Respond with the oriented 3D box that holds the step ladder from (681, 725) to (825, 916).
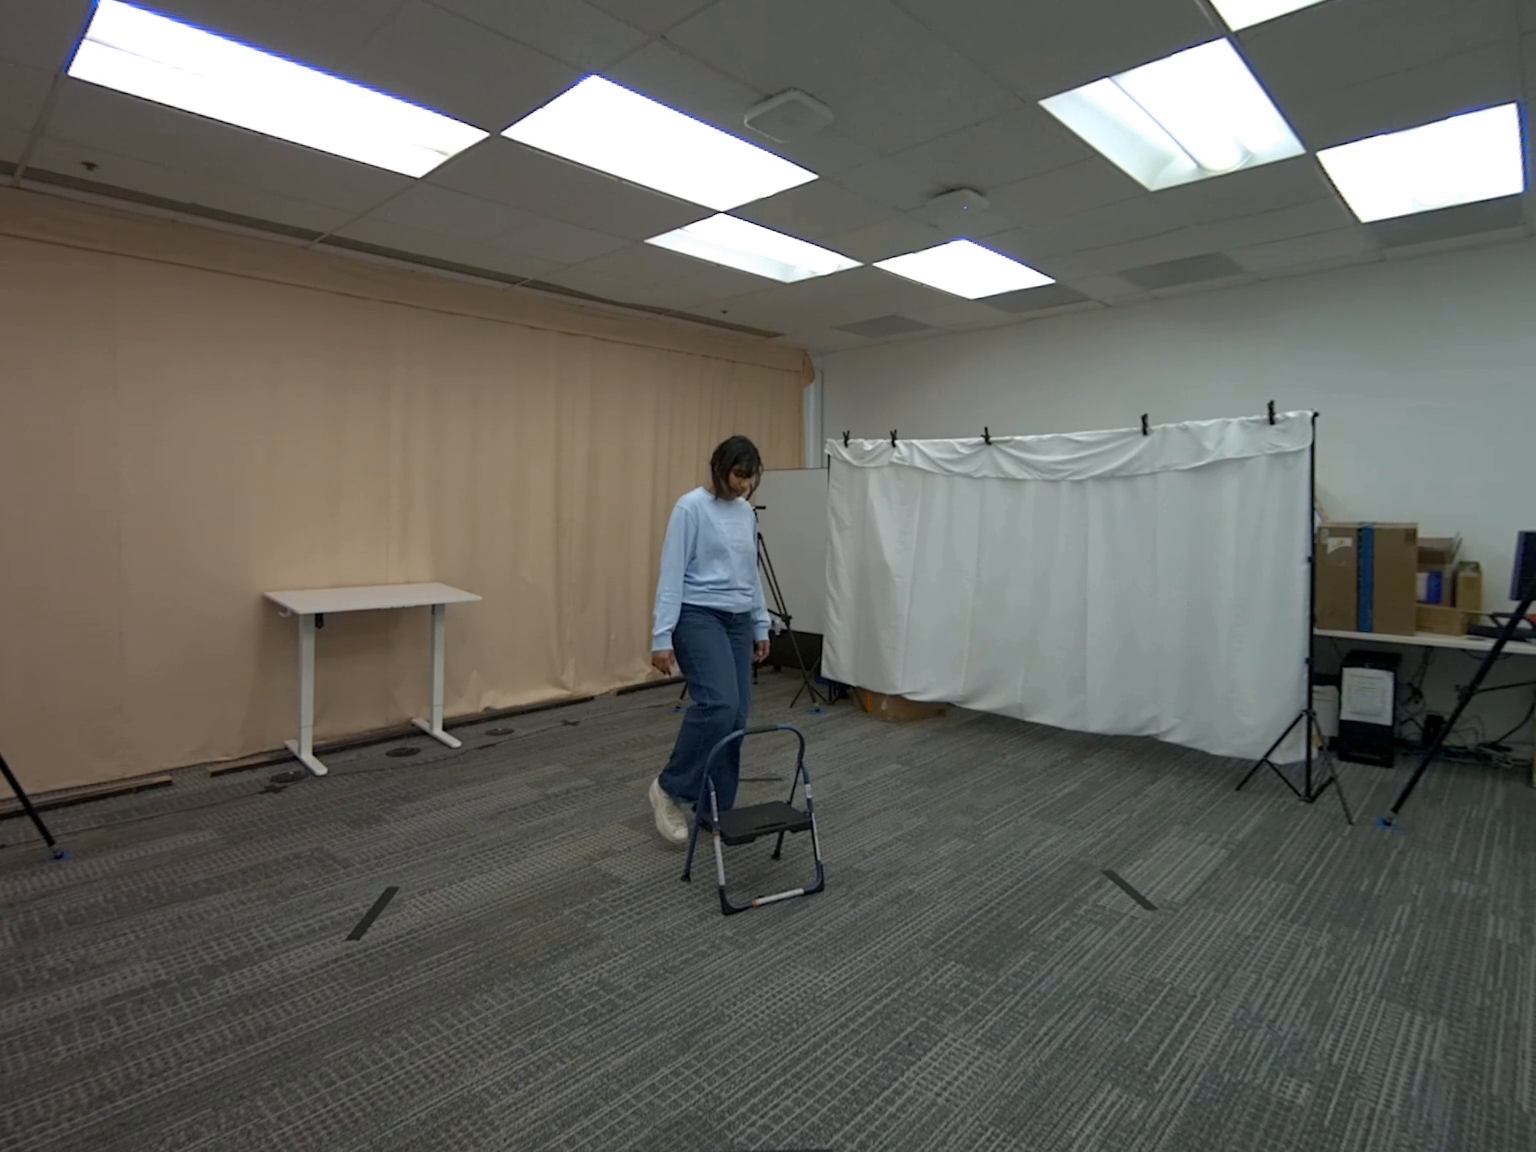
[{"bbox_3d":[-0.054,0.834,3.082,0.419,0.605,0.359,-3,4,-30],"label":"step ladder"}]
